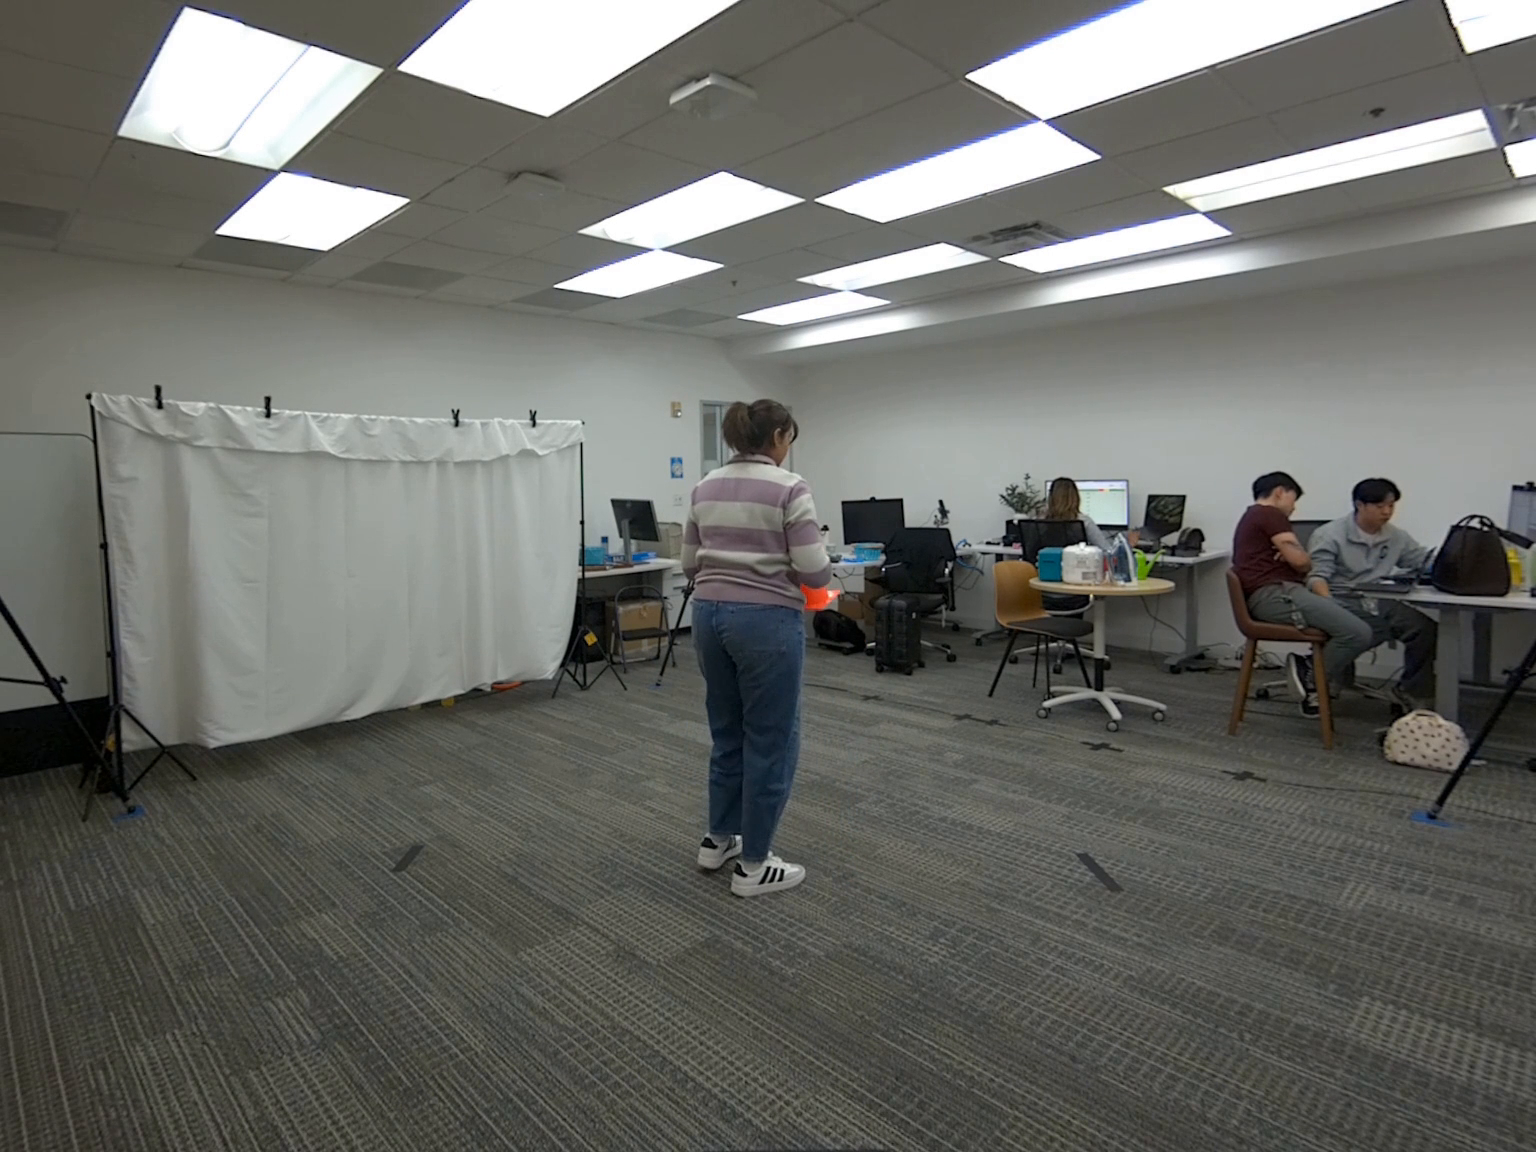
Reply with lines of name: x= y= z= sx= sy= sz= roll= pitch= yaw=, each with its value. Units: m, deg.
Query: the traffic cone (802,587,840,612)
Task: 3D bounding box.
traffic cone: x=0.123 y=-0.090 z=3.111 sx=0.209 sy=0.379 sz=0.201 roll=-3 pitch=12 yaw=27
